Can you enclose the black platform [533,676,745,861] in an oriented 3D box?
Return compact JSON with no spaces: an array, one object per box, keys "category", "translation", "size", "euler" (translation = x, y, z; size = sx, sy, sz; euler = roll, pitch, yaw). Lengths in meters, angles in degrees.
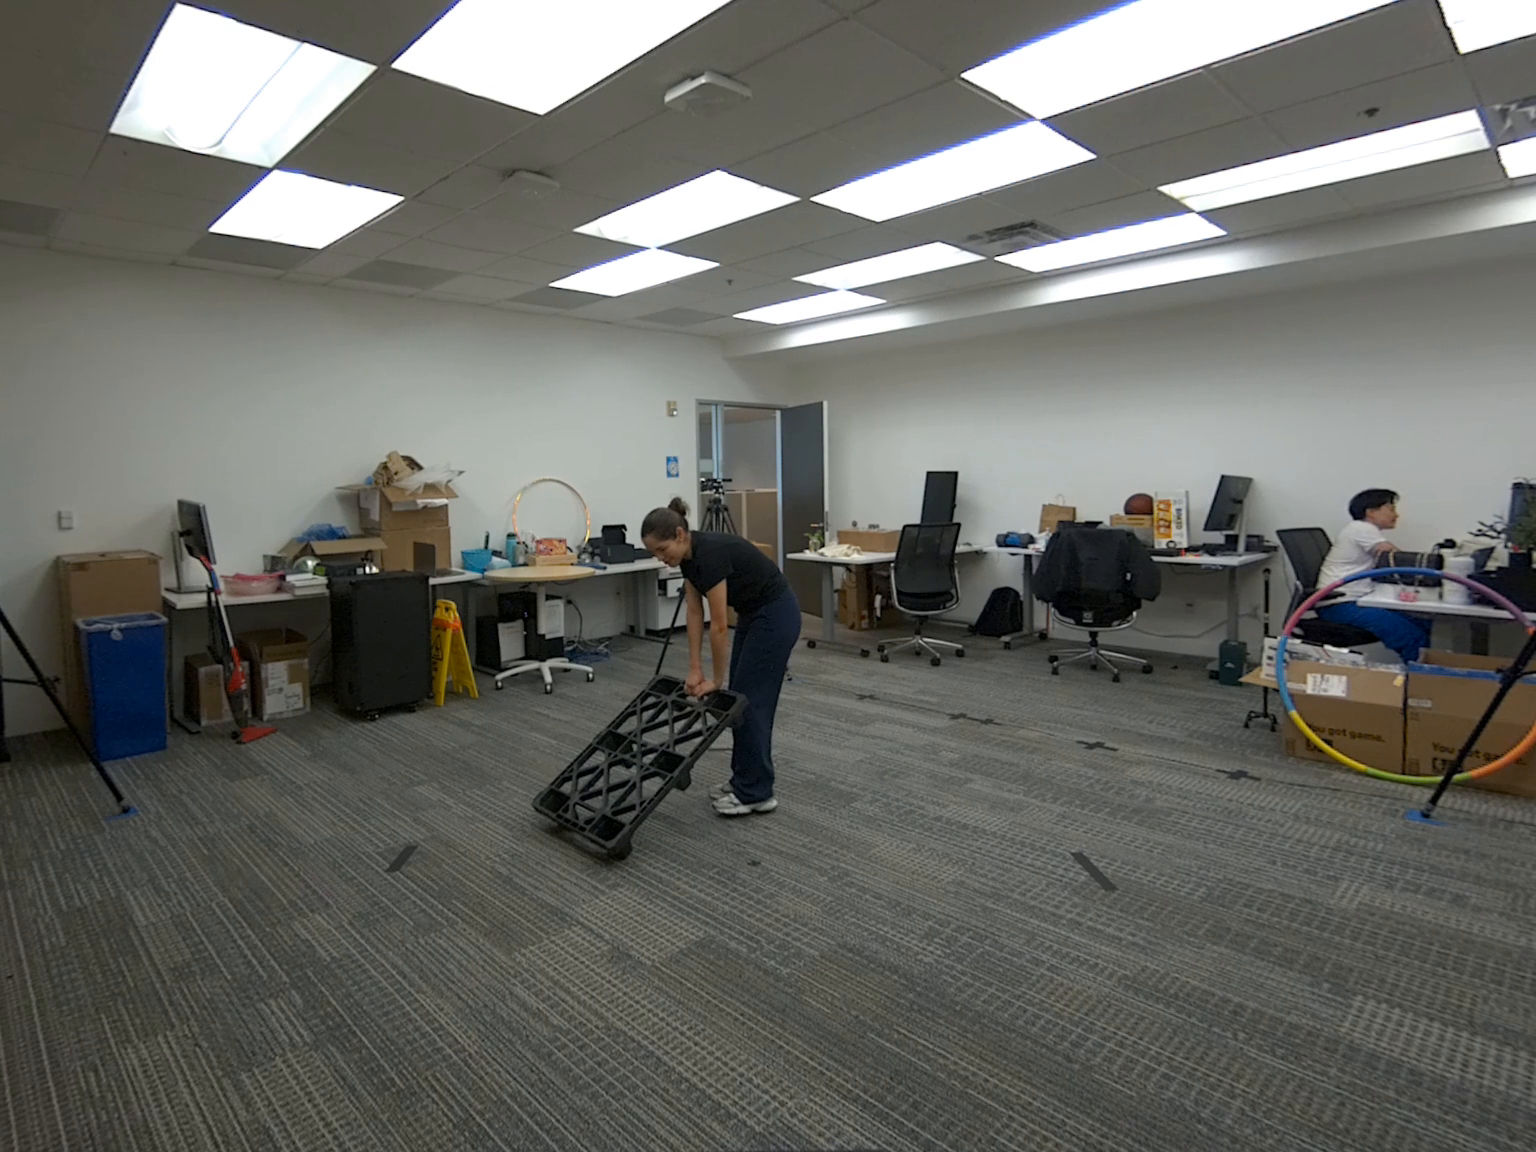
[{"category":"black platform","translation":[-0.503,0.753,3.493],"size":[0.624,0.139,0.804],"euler":[5,42,46]}]
